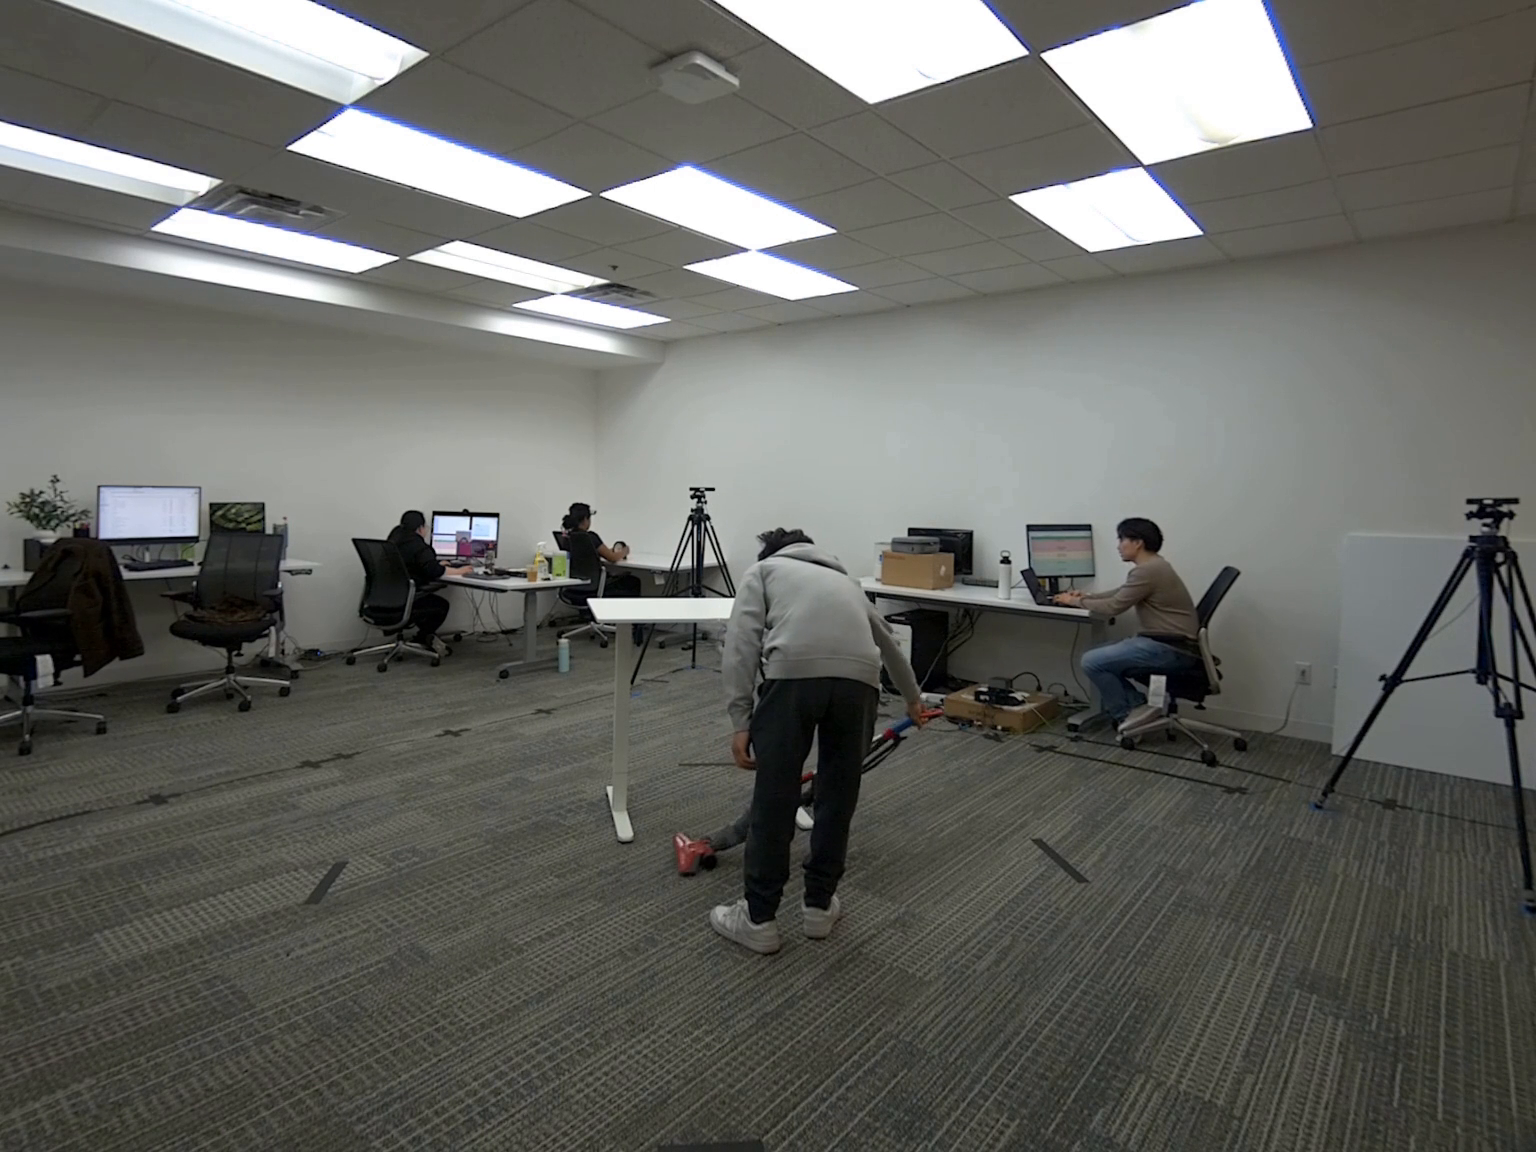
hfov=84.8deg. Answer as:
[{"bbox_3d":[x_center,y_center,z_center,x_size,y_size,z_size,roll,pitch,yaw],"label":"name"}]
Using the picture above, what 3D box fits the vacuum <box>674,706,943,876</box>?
[{"bbox_3d":[0.178,0.776,3.178,1.048,0.141,0.259,-30,19,-2],"label":"vacuum"}]
